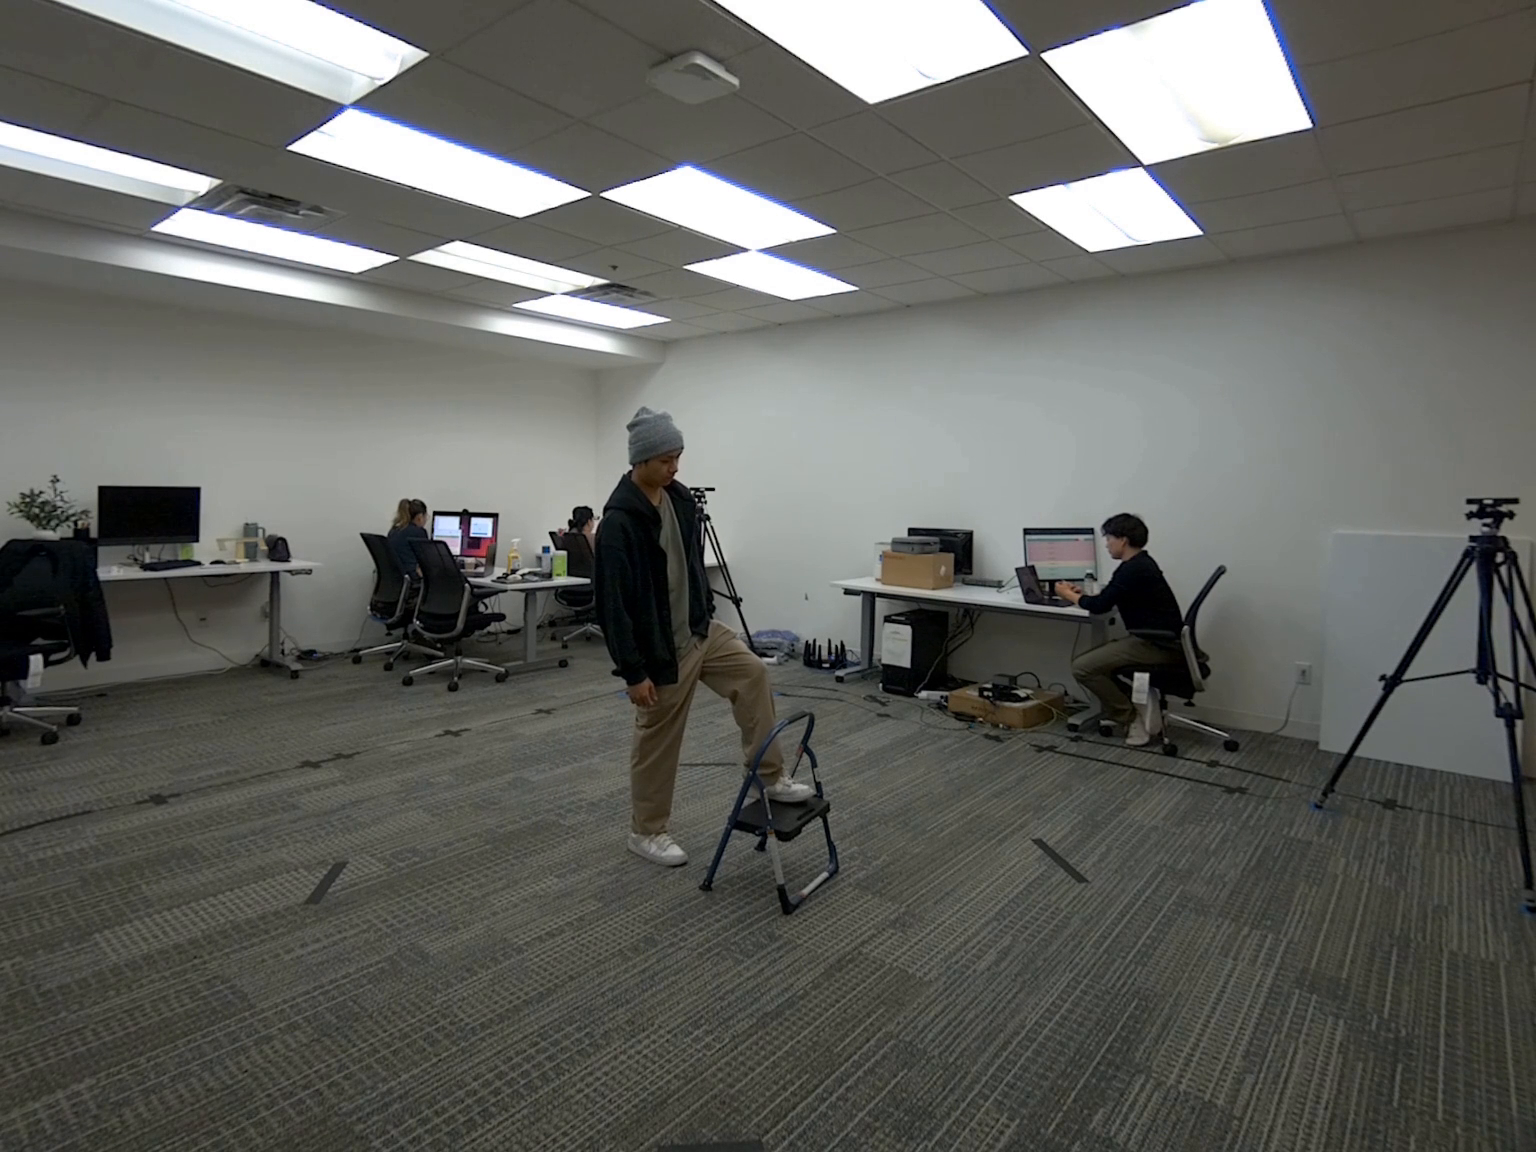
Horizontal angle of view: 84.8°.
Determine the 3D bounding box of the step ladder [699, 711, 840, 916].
[{"bbox_3d":[0.015,0.777,3.016,0.359,0.604,0.420,4,4,29],"label":"step ladder"}]
